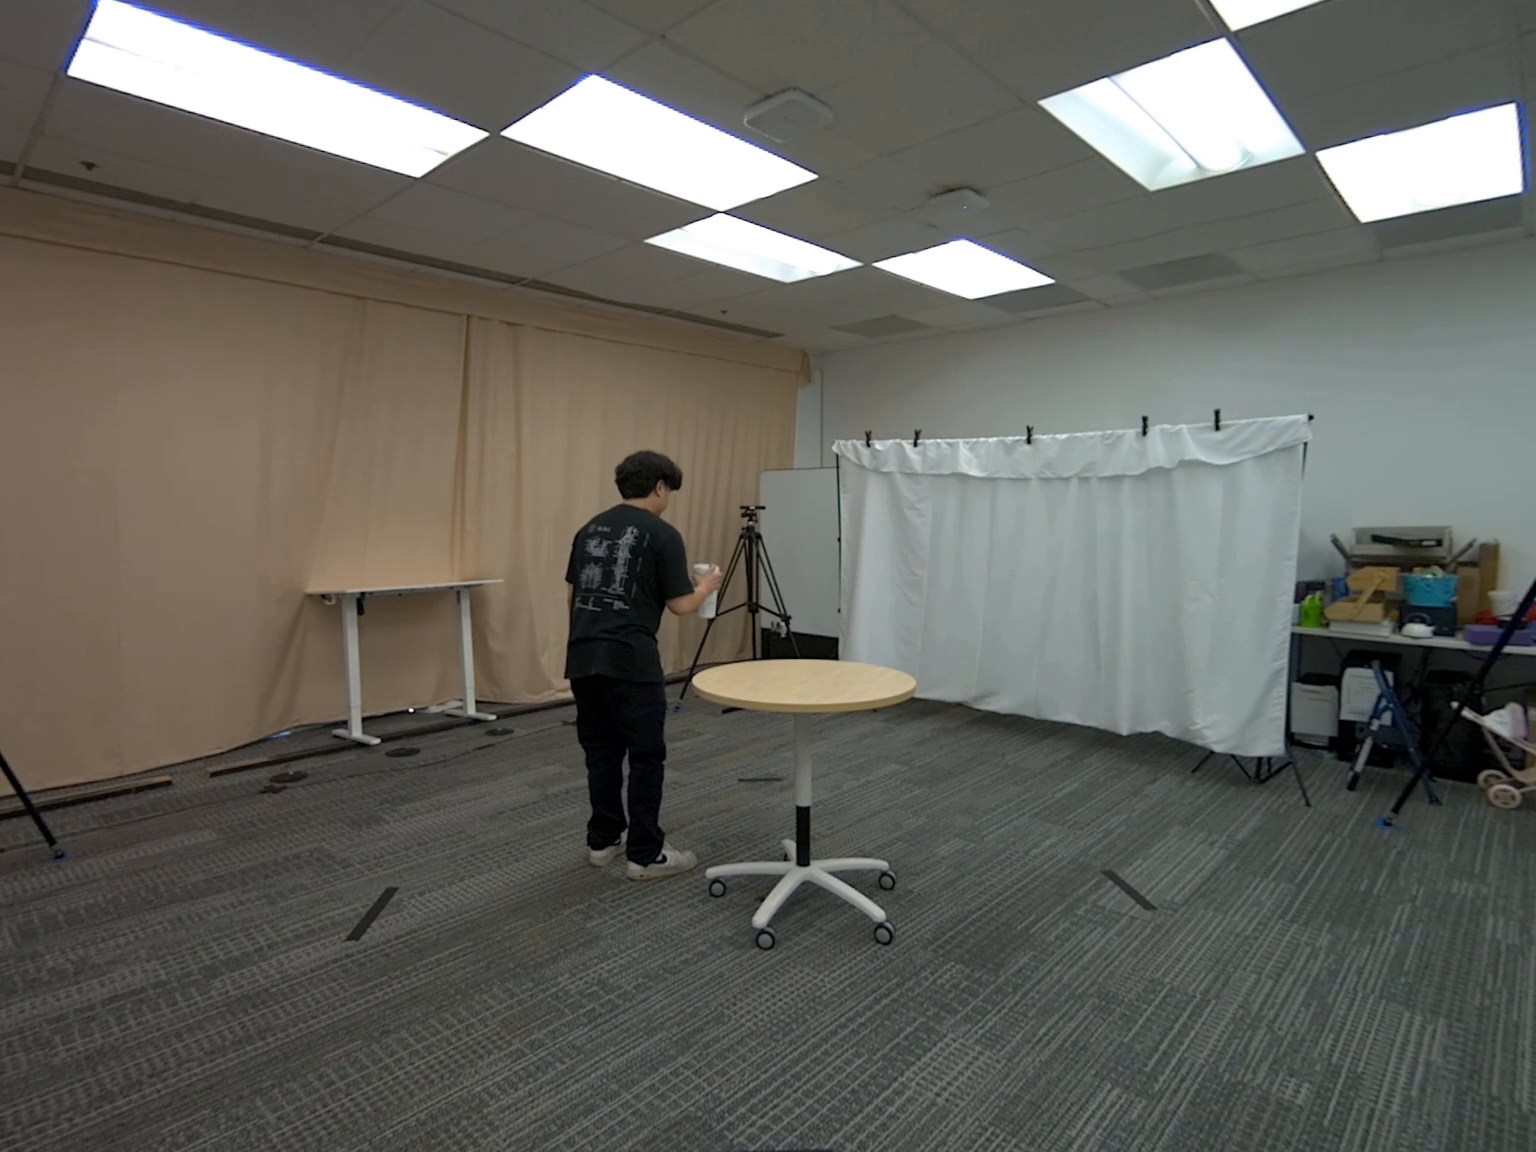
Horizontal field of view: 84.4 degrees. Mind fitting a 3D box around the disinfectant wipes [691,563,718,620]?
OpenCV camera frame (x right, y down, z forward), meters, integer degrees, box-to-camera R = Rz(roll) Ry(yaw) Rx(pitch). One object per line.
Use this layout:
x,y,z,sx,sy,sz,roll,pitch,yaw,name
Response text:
-0.263,0.074,3.549,0.117,0.217,0.118,4,4,-2,disinfectant wipes
